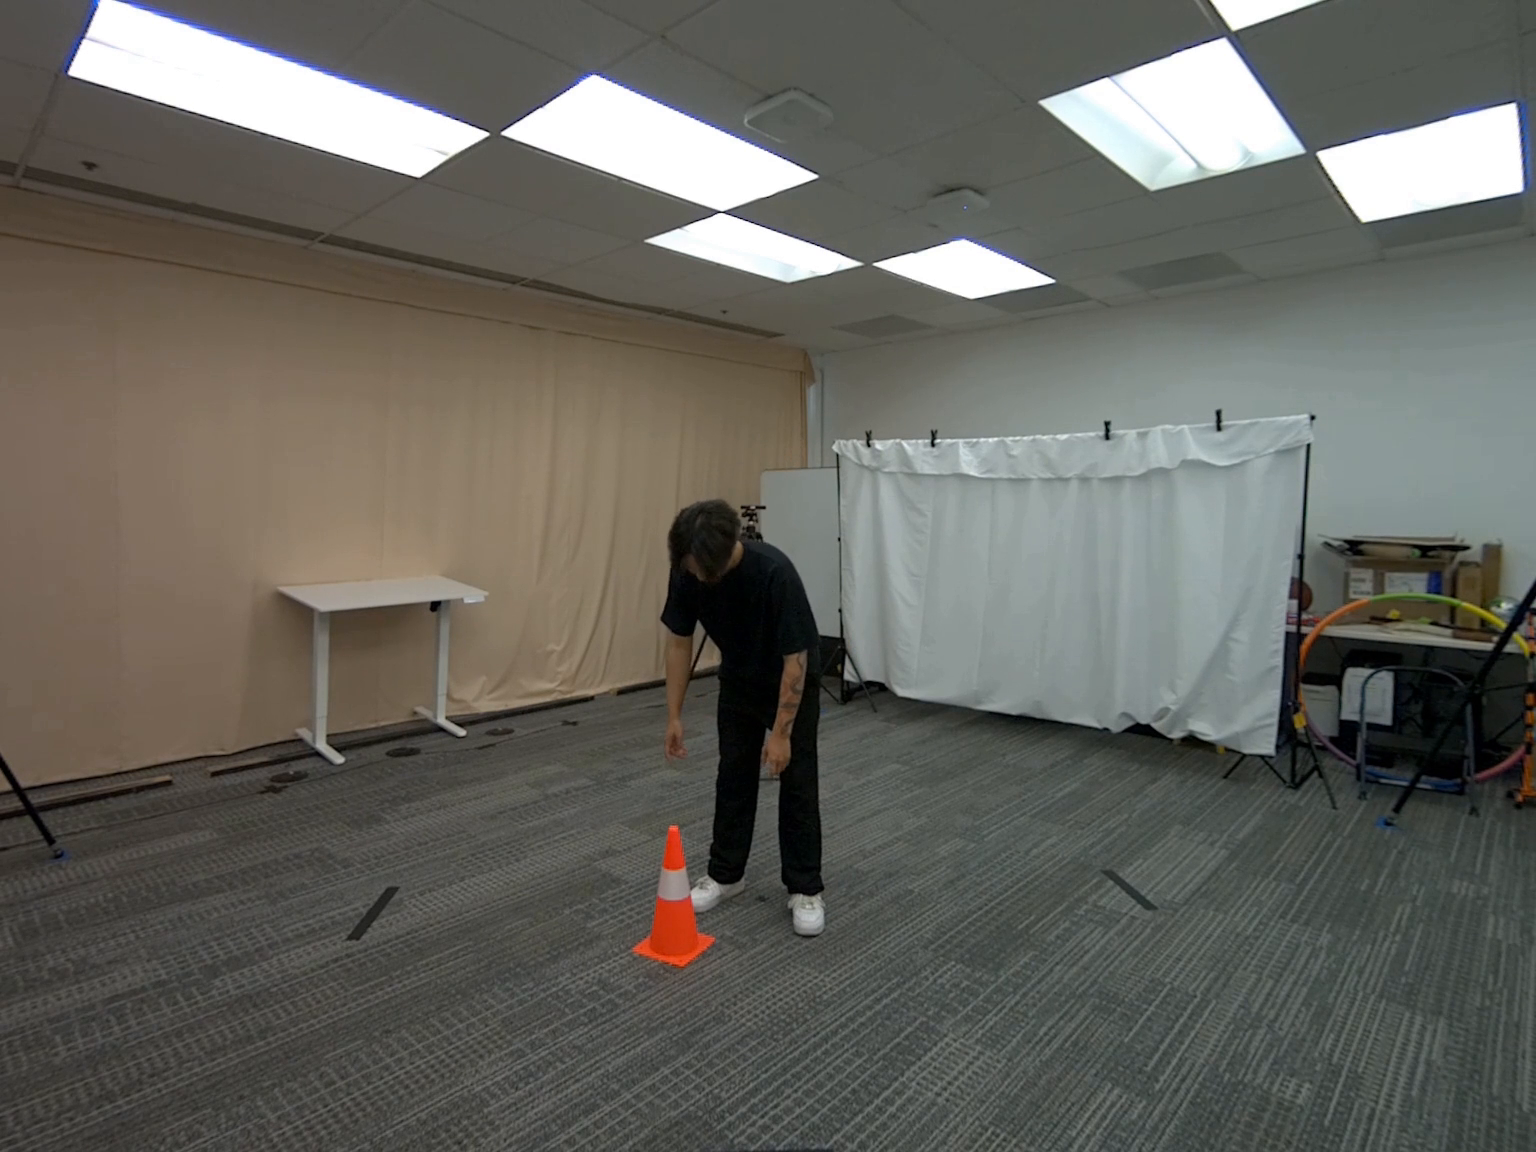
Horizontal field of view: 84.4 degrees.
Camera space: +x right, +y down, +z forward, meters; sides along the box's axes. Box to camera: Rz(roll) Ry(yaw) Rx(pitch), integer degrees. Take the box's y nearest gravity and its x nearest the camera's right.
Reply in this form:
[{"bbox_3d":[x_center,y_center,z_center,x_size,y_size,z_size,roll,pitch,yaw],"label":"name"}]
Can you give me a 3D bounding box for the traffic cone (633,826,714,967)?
[{"bbox_3d":[-0.300,0.987,2.657,0.210,0.383,0.199,2,4,35],"label":"traffic cone"}]
